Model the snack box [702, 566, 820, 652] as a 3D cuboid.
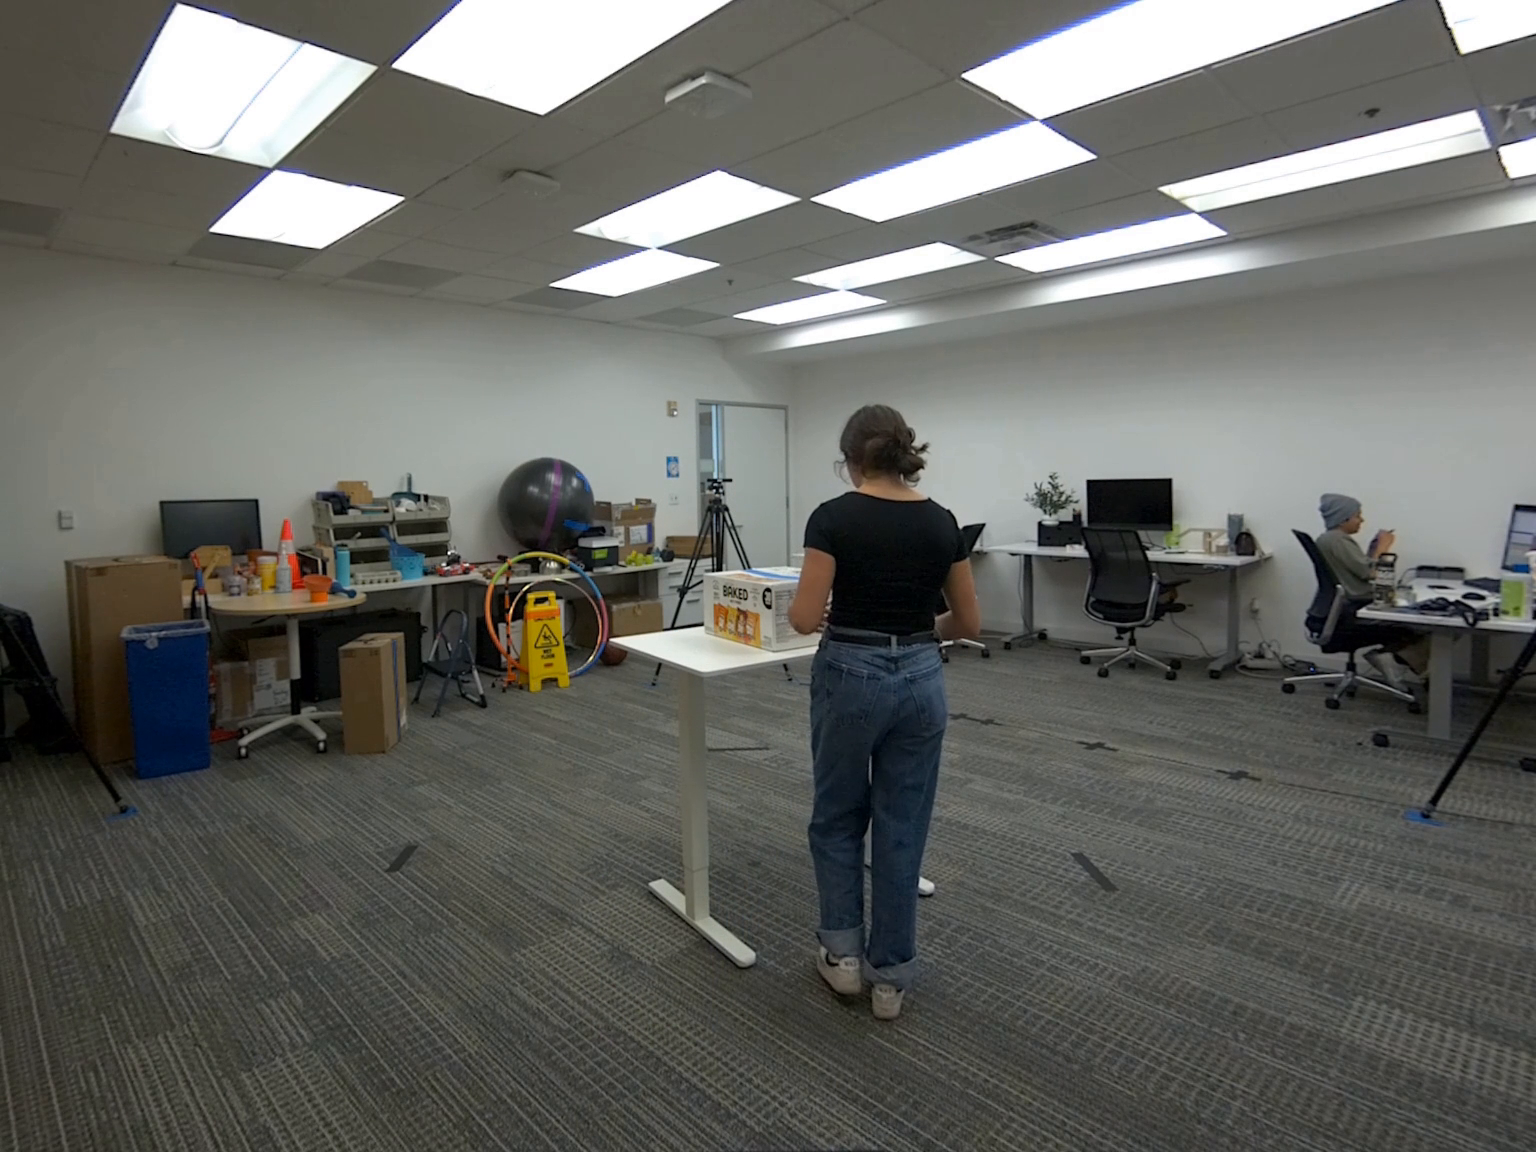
[{"bbox_3d":[0.042,0.096,2.786,0.332,0.205,0.417,-5,7,-33],"label":"snack box"}]
